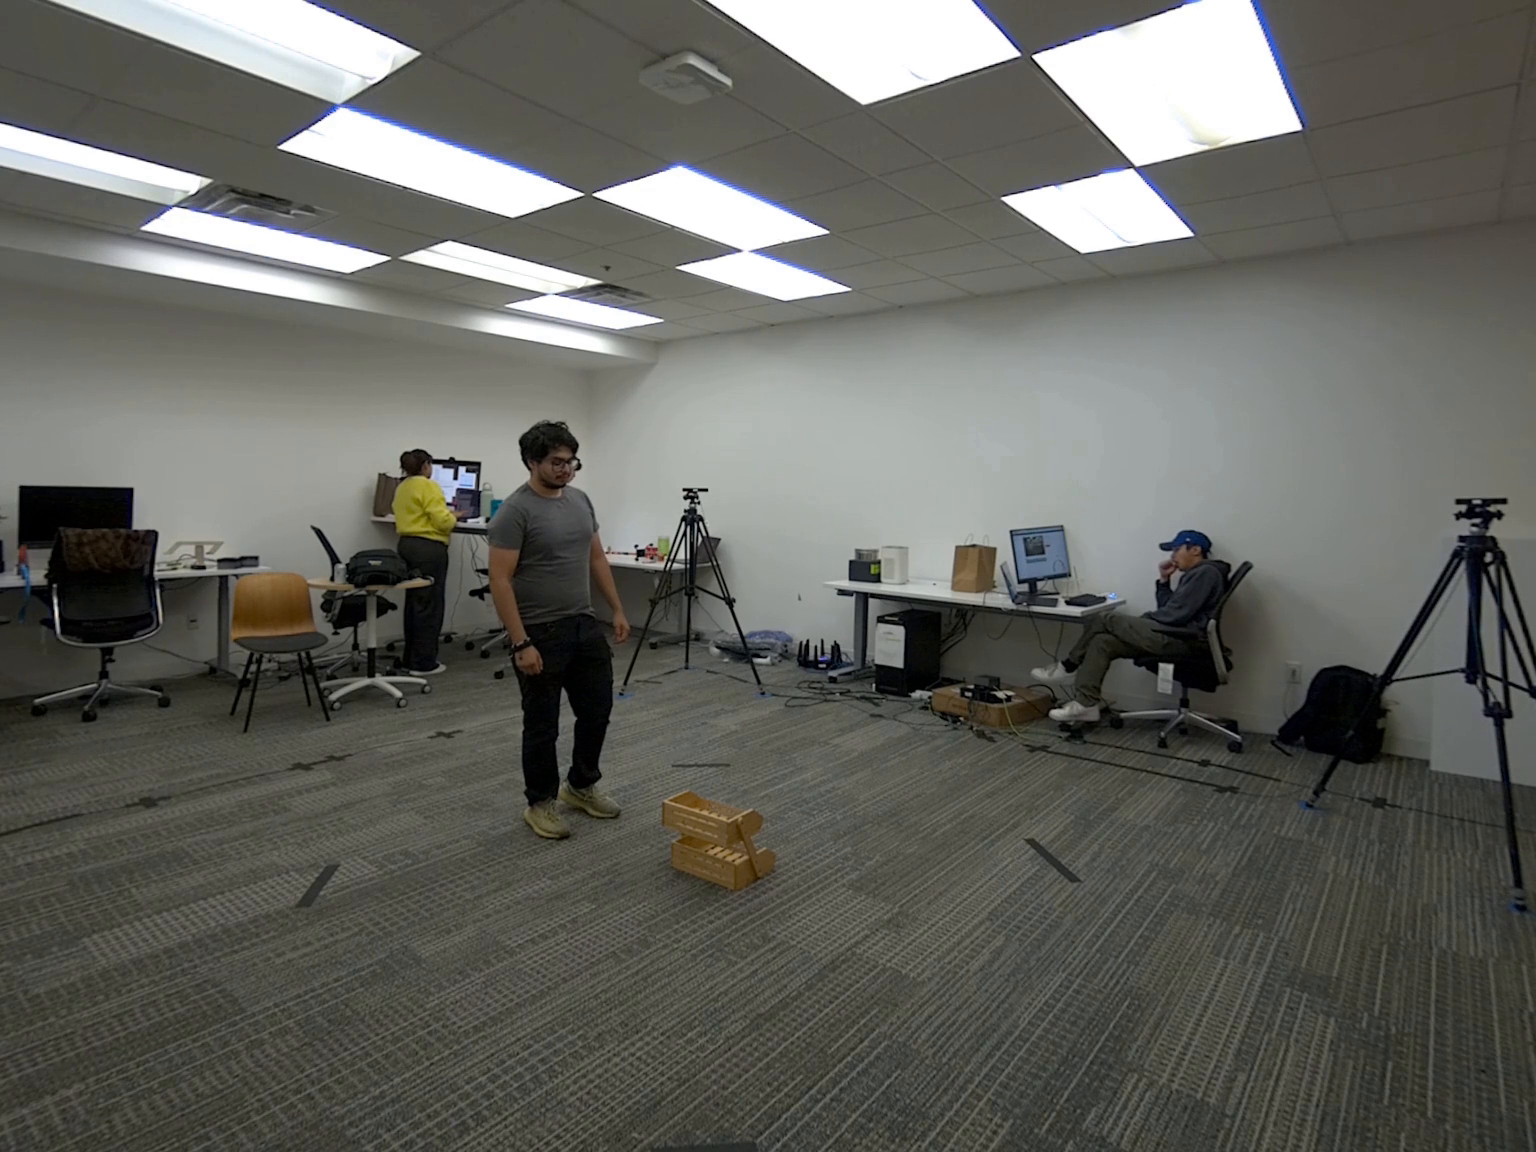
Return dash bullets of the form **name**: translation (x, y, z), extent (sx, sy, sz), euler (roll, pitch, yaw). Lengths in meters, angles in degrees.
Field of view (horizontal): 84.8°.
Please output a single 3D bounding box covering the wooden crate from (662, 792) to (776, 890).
- **wooden crate**: translation (-0.185, 0.937, 3.107), extent (0.335, 0.272, 0.293), euler (4, 6, 36)
